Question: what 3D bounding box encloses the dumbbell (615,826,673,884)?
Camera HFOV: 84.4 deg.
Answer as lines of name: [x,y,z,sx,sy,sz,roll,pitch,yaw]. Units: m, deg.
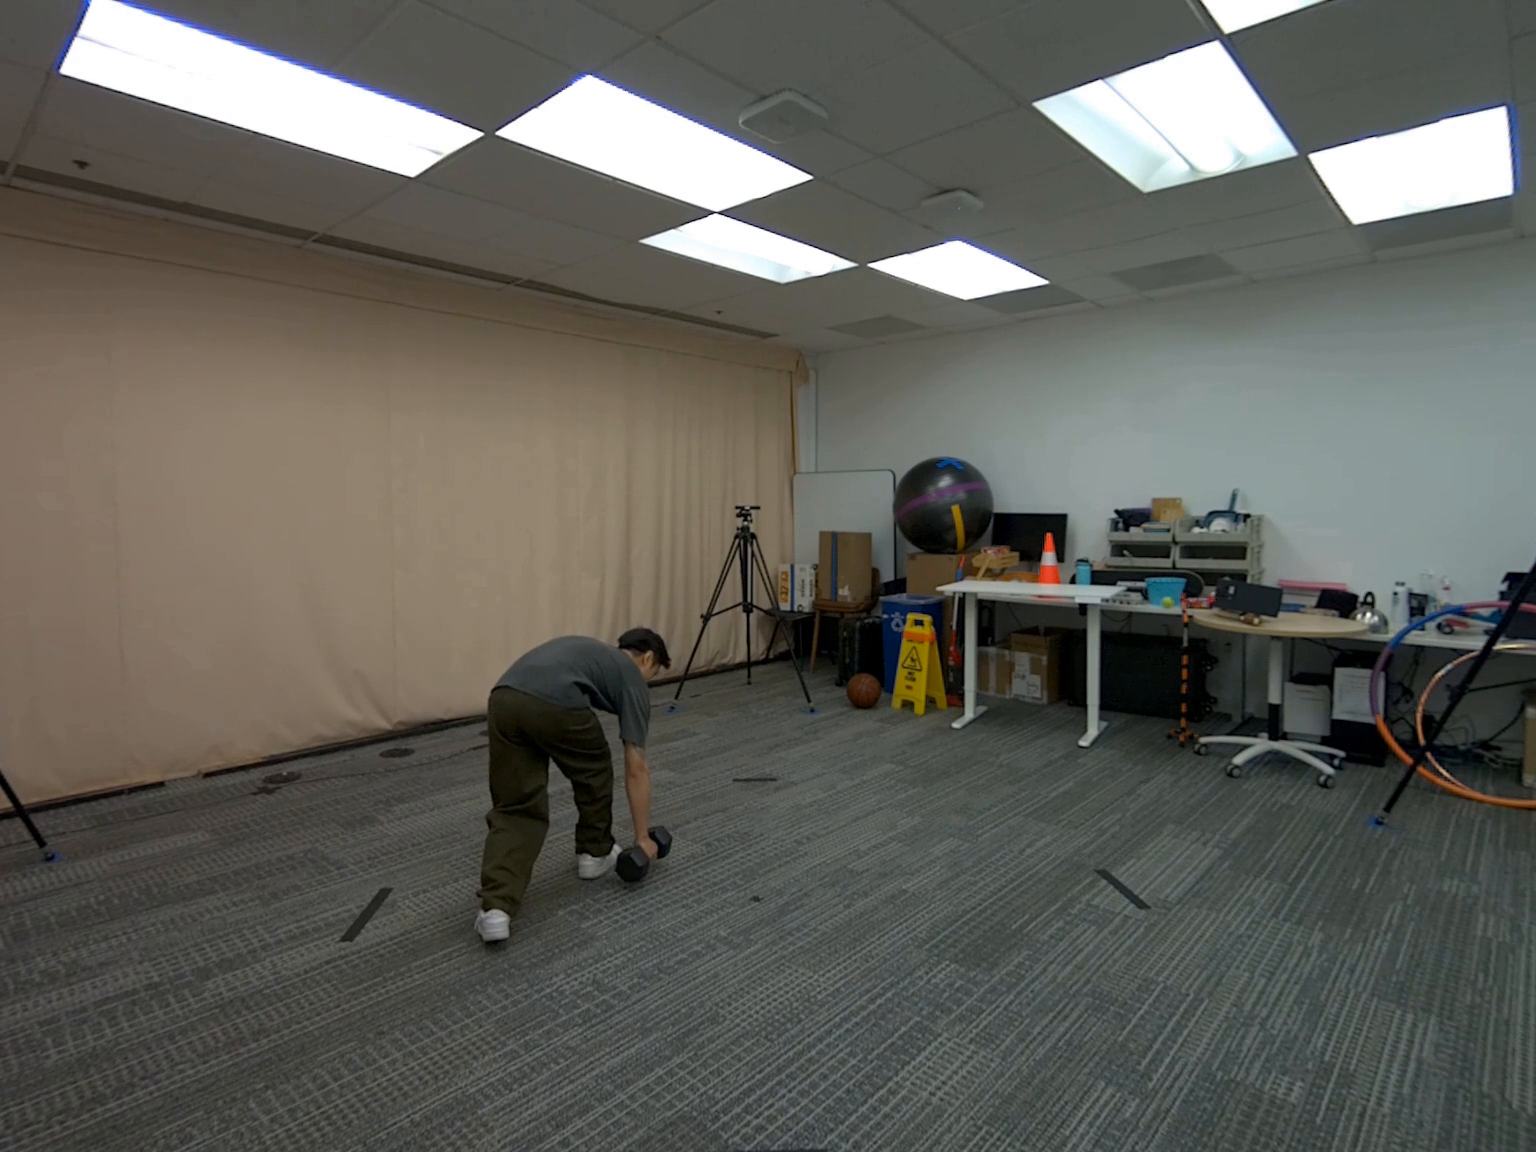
dumbbell: [-0.473,1.044,3.151,0.125,0.109,0.288,-14,0,19]
